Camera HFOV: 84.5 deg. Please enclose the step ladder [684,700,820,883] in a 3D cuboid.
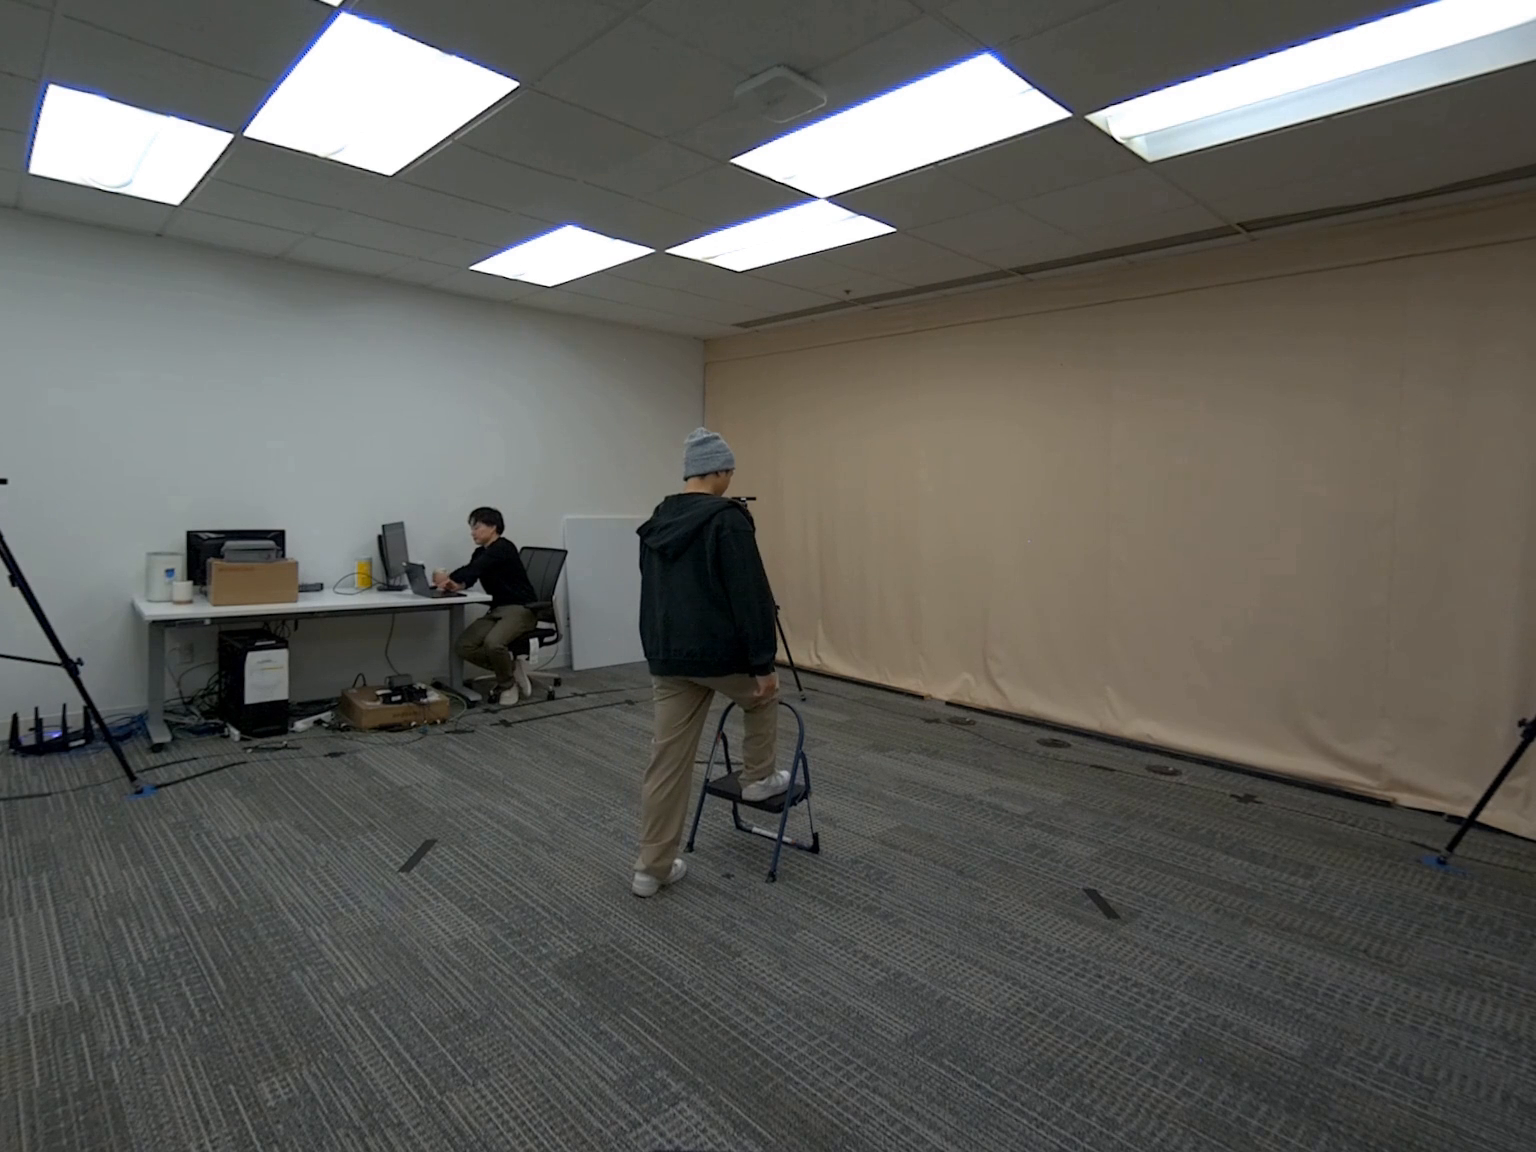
[{"bbox_3d":[-0.054,0.790,3.309,0.441,0.605,0.342,4,4,36],"label":"step ladder"}]
